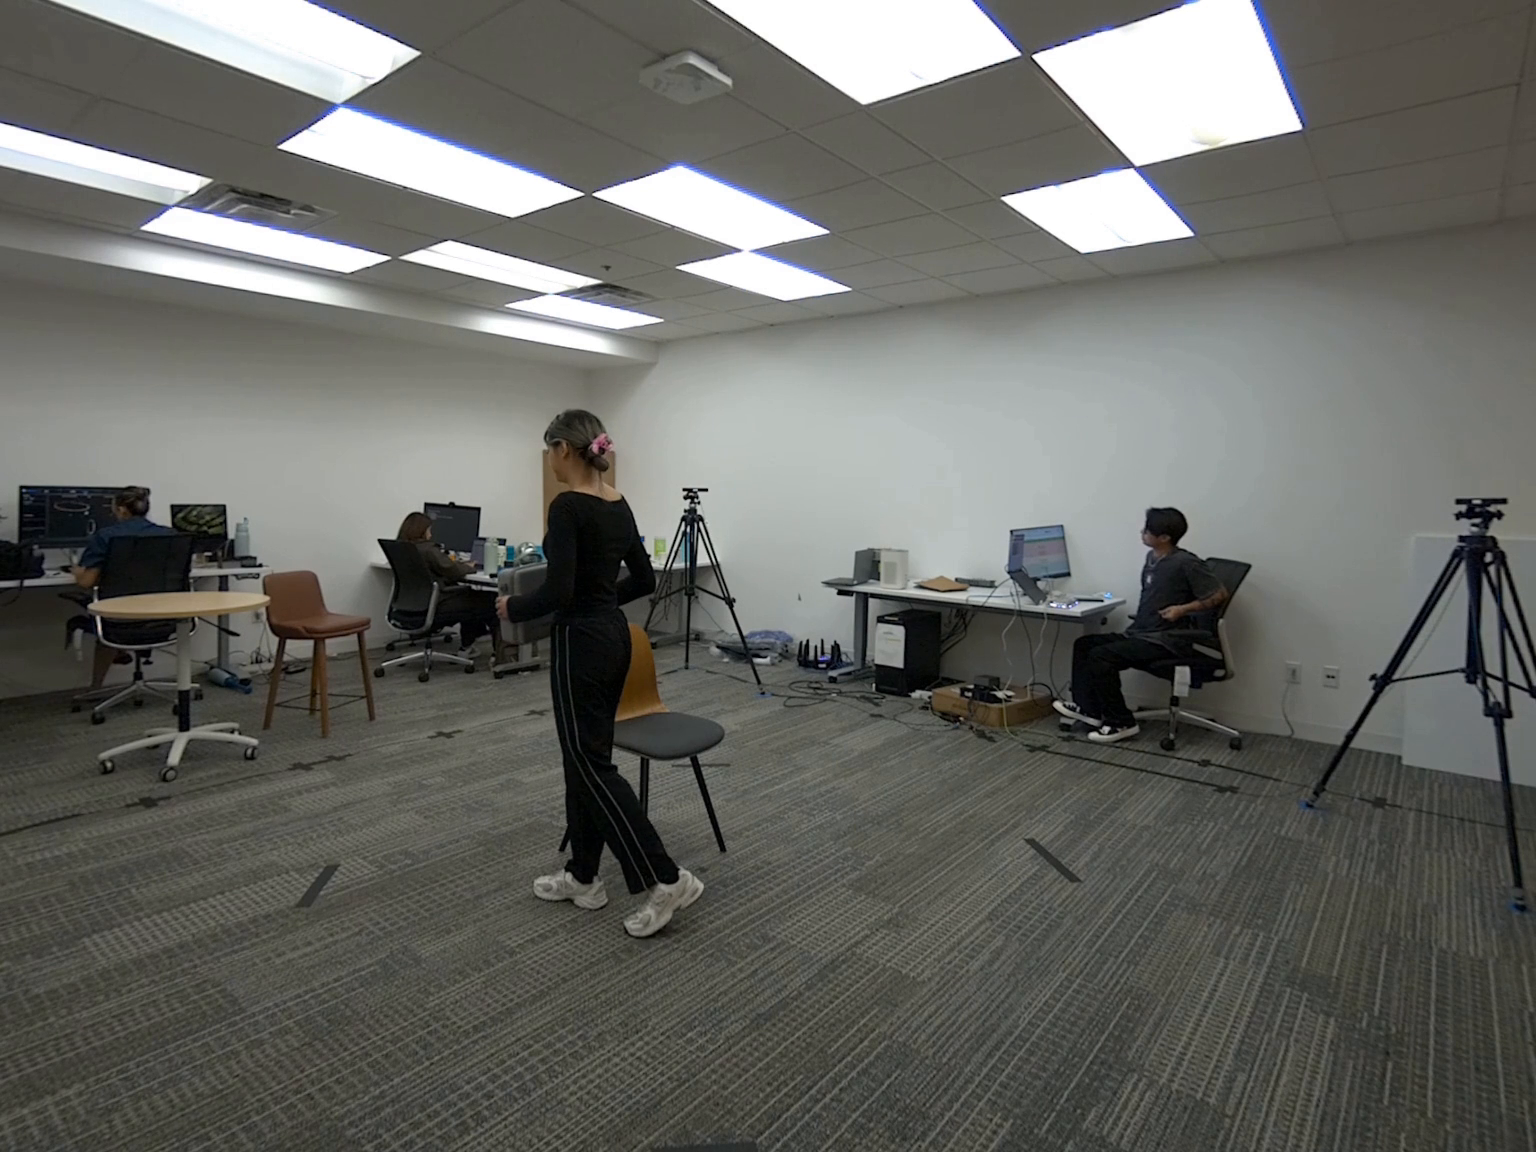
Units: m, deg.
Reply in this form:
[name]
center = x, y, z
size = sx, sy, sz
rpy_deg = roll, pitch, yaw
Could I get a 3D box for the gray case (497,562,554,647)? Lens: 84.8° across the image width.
[gray case]
center = -0.802, 0.081, 2.879
size = 0.107, 0.259, 0.251
rpy_deg = -2, 5, 30
